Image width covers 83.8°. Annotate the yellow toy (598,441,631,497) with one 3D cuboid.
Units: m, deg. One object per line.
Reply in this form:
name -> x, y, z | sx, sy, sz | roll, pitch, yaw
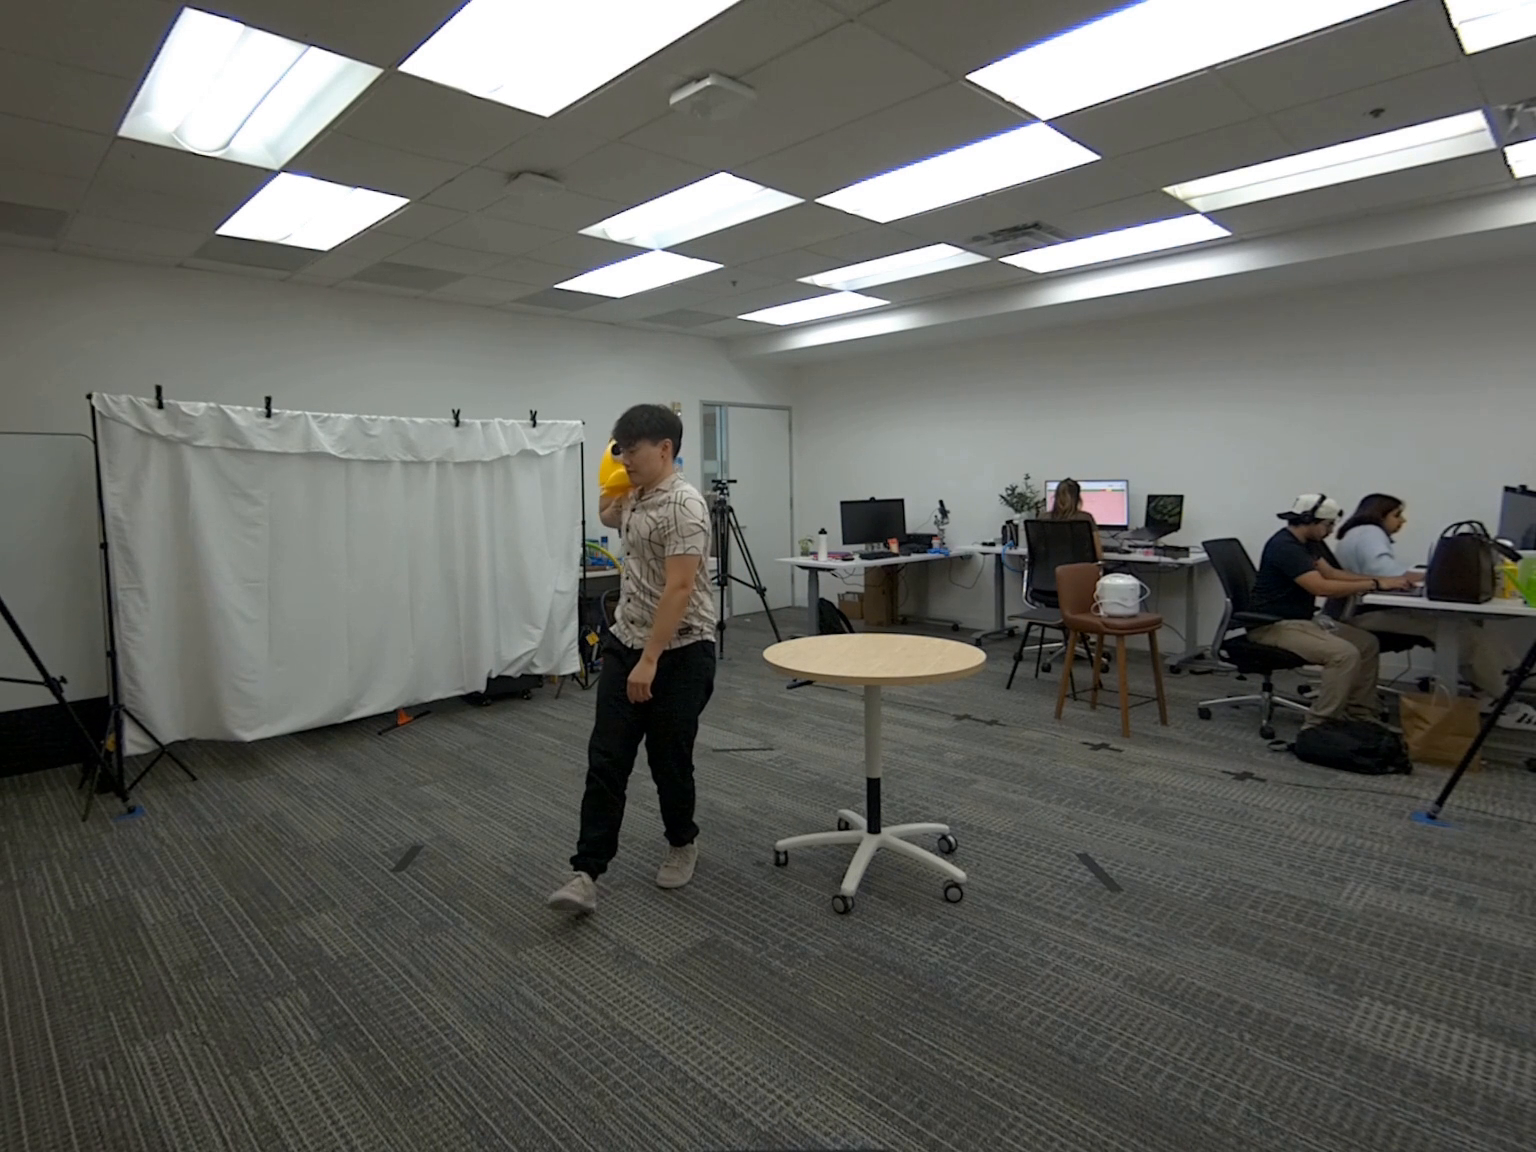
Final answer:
yellow toy -> -0.532, -0.427, 3.070 | 0.191, 0.232, 0.205 | -11, -5, -12
